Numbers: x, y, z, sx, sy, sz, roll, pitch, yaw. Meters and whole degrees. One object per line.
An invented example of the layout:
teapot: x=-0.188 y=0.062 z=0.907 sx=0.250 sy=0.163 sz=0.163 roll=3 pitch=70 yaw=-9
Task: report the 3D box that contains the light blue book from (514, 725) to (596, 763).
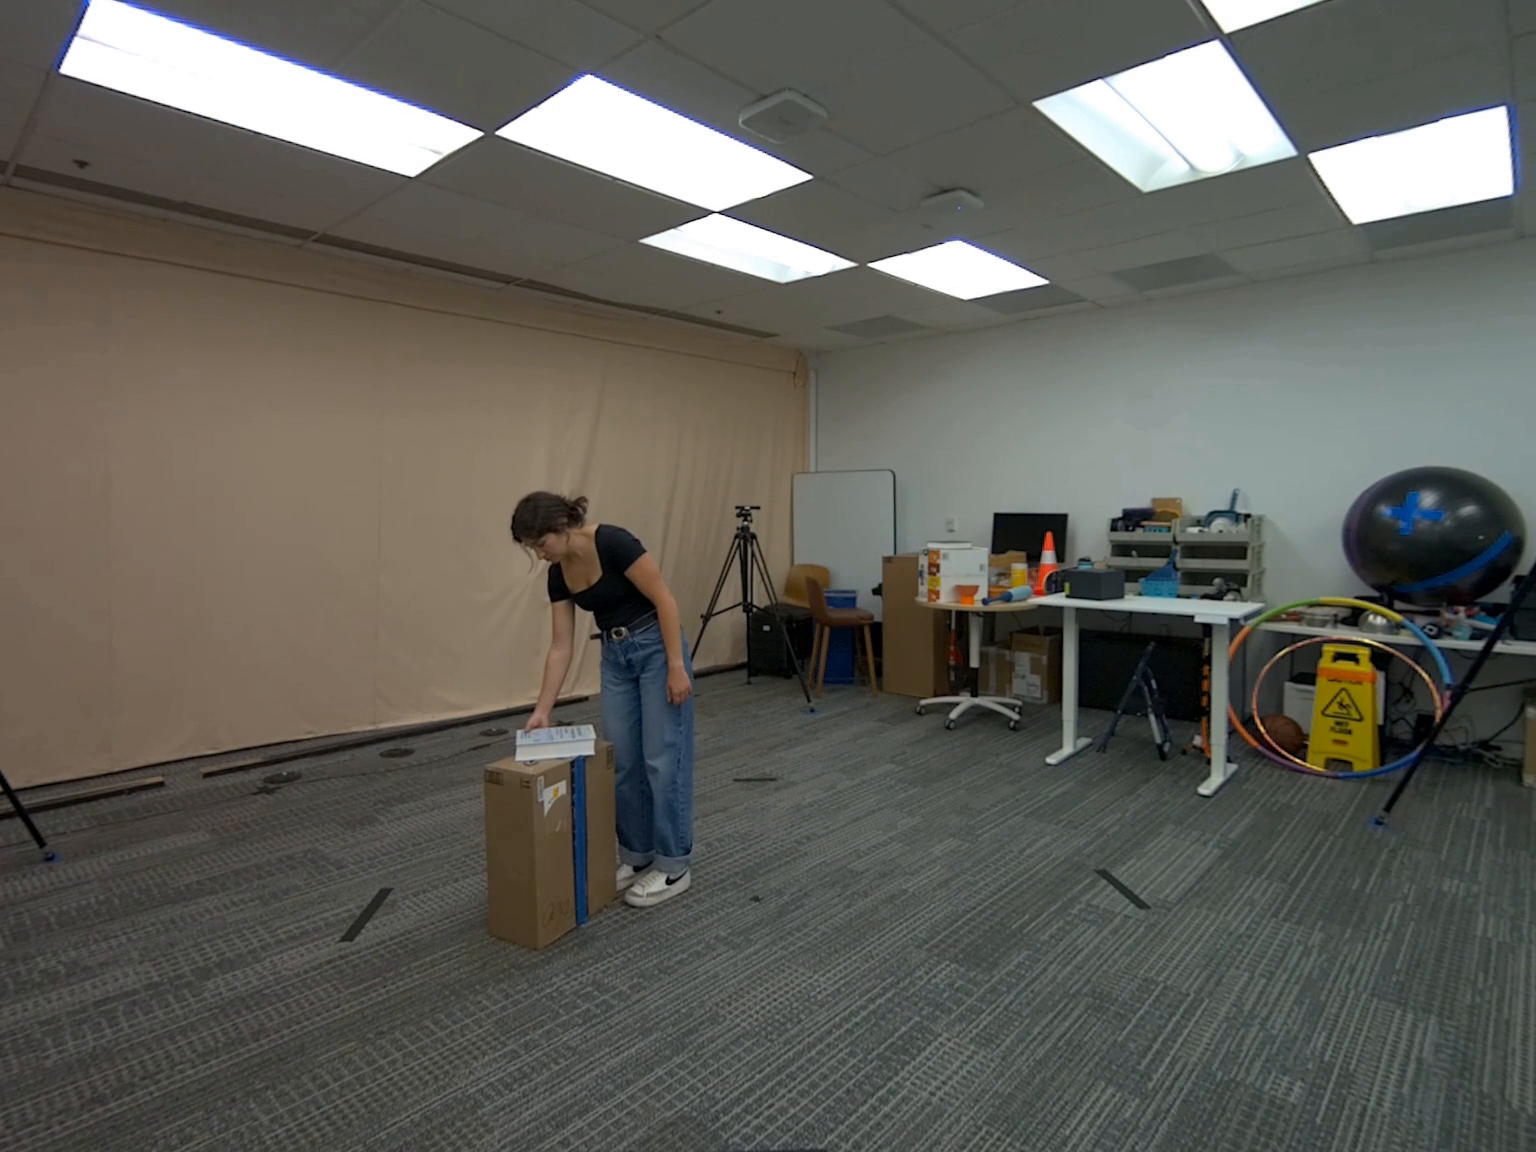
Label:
light blue book: x=-0.729 y=0.572 z=2.871 sx=0.258 sy=0.059 sz=0.194 roll=-2 pitch=5 yaw=-11
